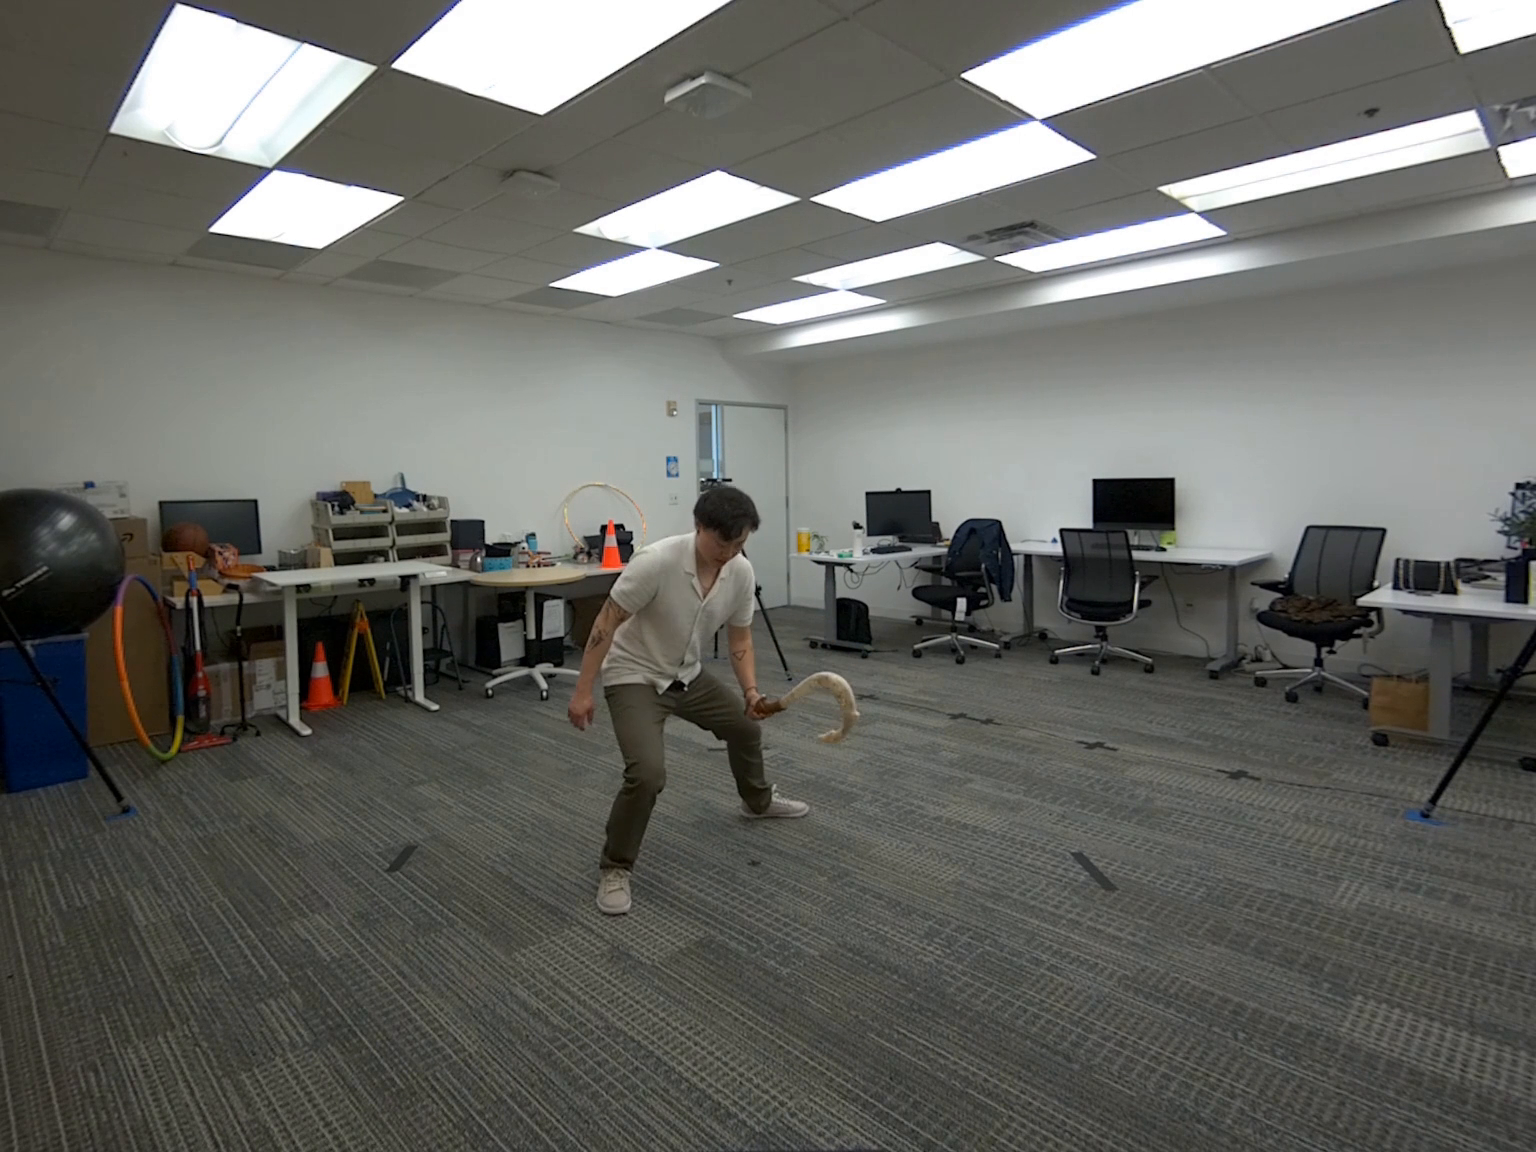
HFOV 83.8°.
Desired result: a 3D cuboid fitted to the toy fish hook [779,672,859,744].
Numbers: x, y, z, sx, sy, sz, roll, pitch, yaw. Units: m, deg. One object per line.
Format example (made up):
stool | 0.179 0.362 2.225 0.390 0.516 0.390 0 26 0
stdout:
toy fish hook | 0.109 0.463 2.833 0.047 0.228 0.513 -3 -16 -41
